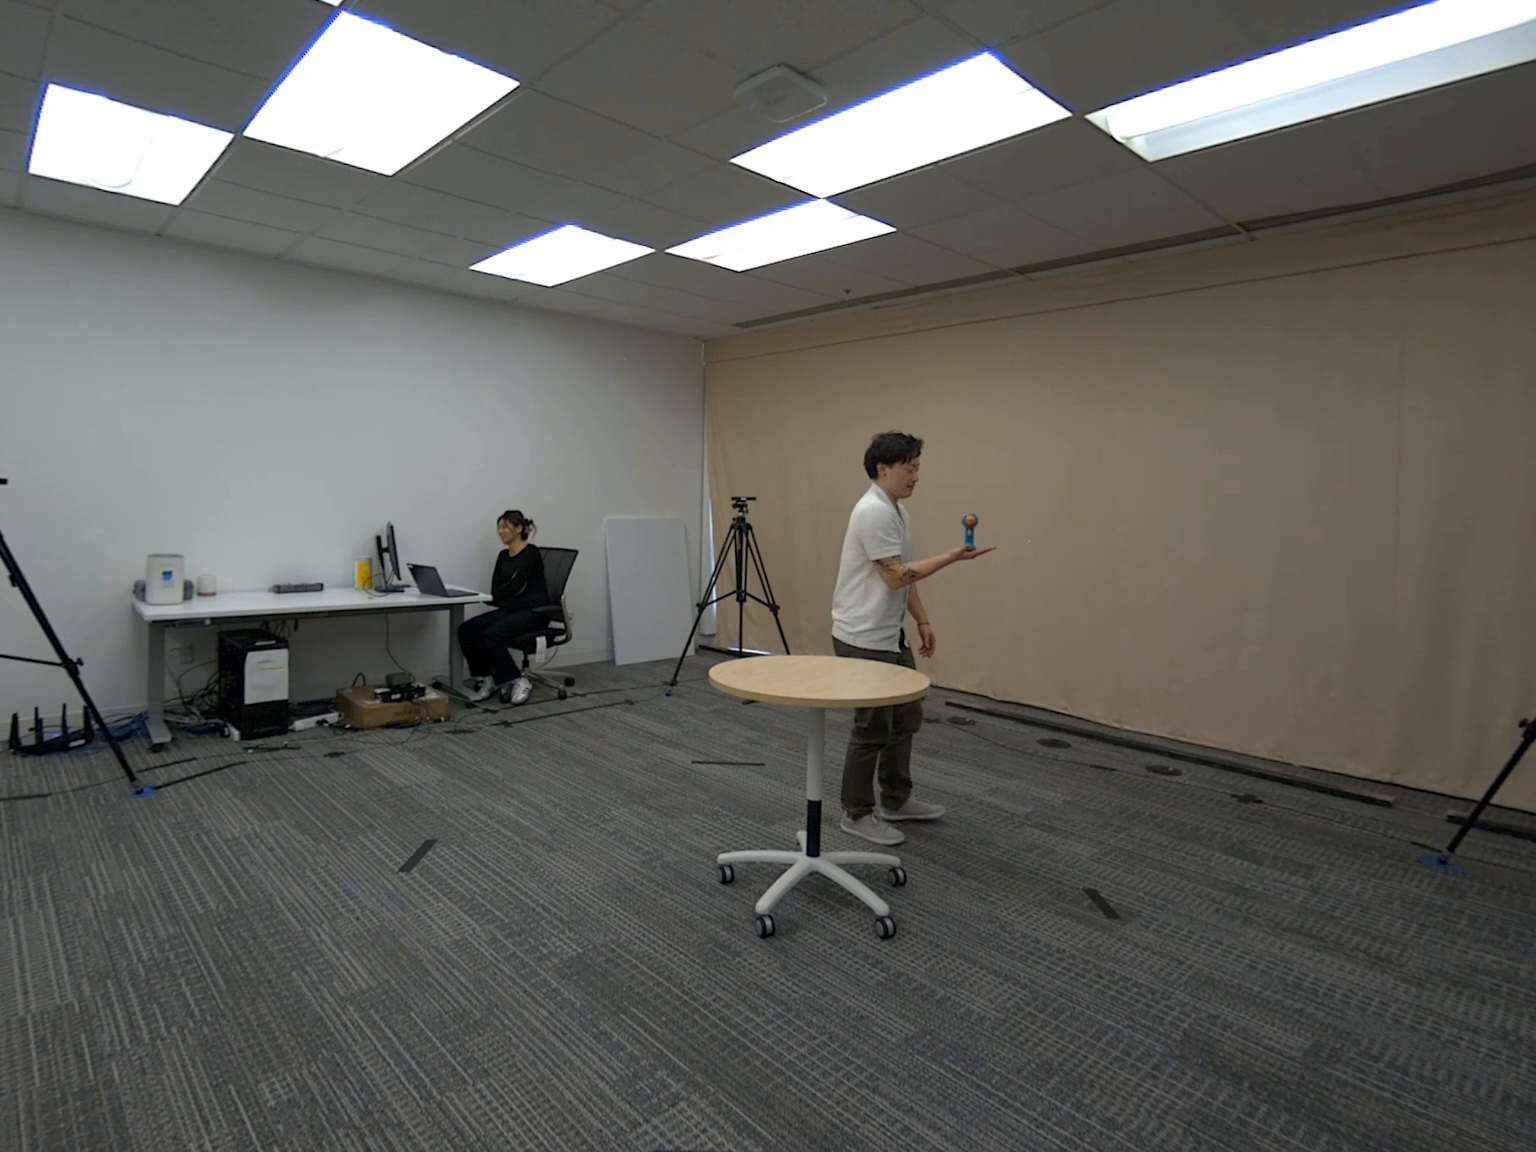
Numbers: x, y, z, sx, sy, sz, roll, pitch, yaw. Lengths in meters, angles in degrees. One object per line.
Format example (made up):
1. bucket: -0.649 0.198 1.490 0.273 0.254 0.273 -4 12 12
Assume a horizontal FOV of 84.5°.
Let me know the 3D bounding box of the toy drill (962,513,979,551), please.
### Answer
1. toy drill: 0.766 -0.170 3.199 0.061 0.146 0.168 6 -3 7
